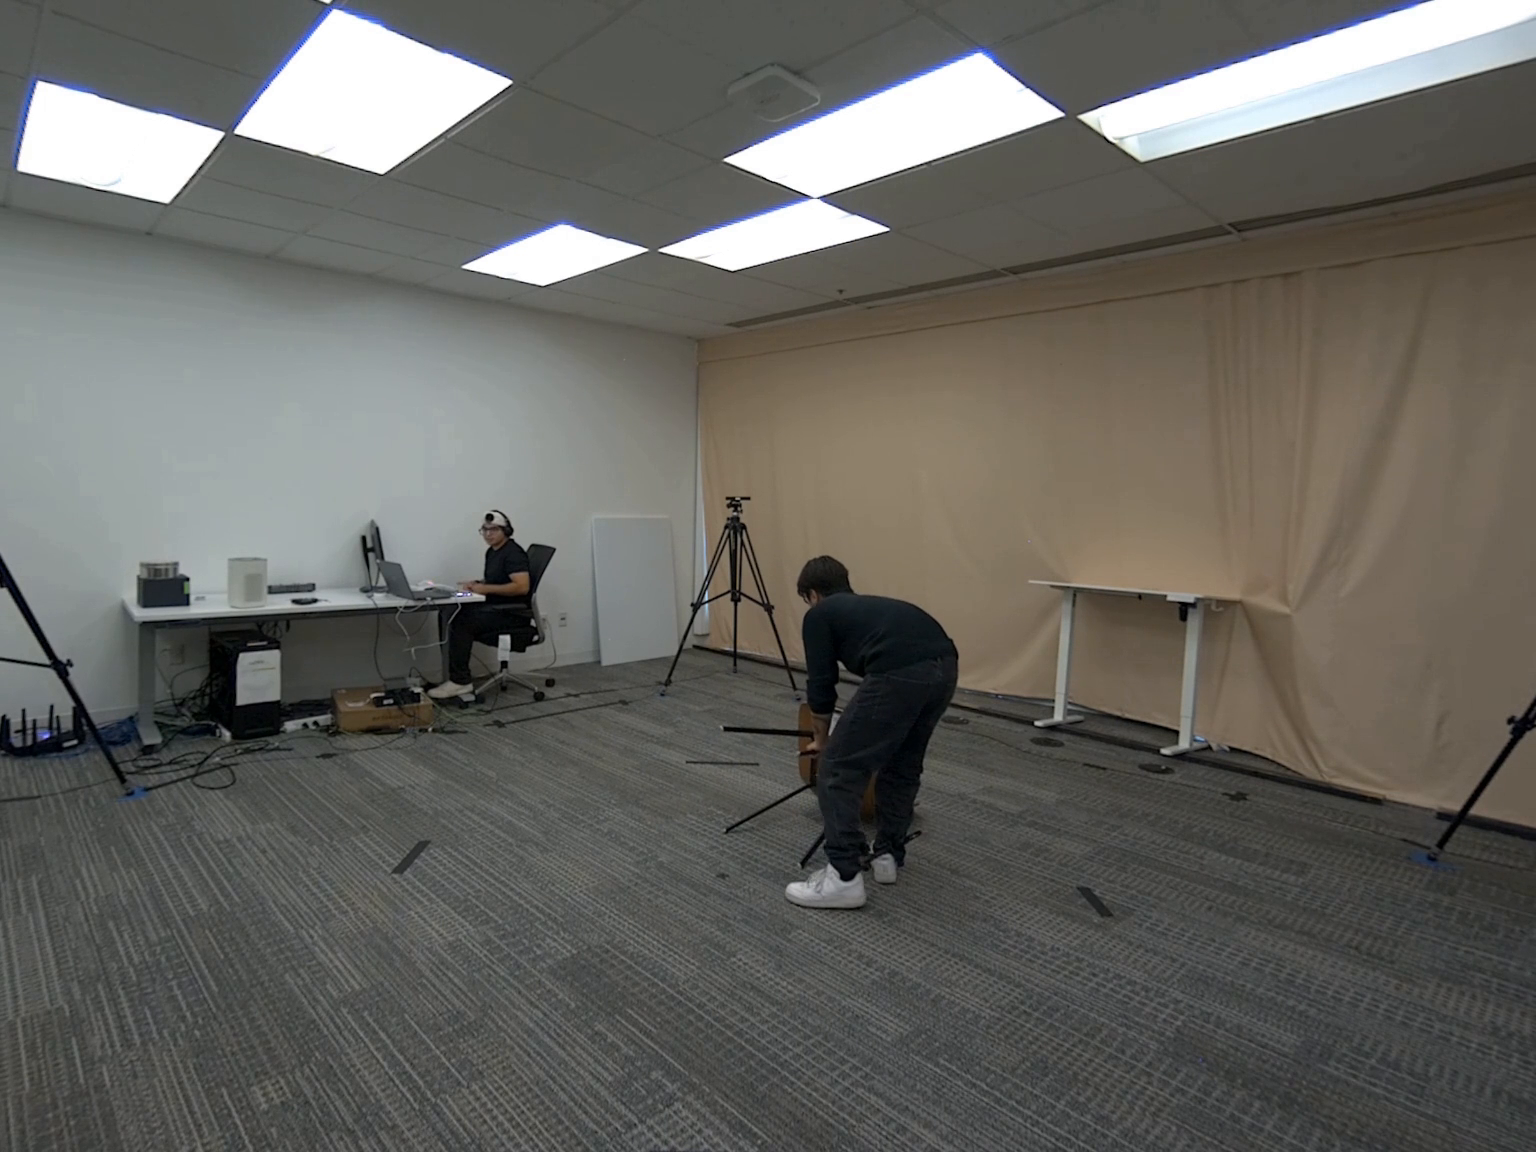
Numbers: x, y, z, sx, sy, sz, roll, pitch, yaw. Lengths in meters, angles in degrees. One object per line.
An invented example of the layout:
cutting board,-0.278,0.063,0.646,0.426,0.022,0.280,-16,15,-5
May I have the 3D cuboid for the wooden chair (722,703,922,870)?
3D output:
wooden chair,0.276,0.817,3.597,0.857,0.522,0.490,-1,4,-42
